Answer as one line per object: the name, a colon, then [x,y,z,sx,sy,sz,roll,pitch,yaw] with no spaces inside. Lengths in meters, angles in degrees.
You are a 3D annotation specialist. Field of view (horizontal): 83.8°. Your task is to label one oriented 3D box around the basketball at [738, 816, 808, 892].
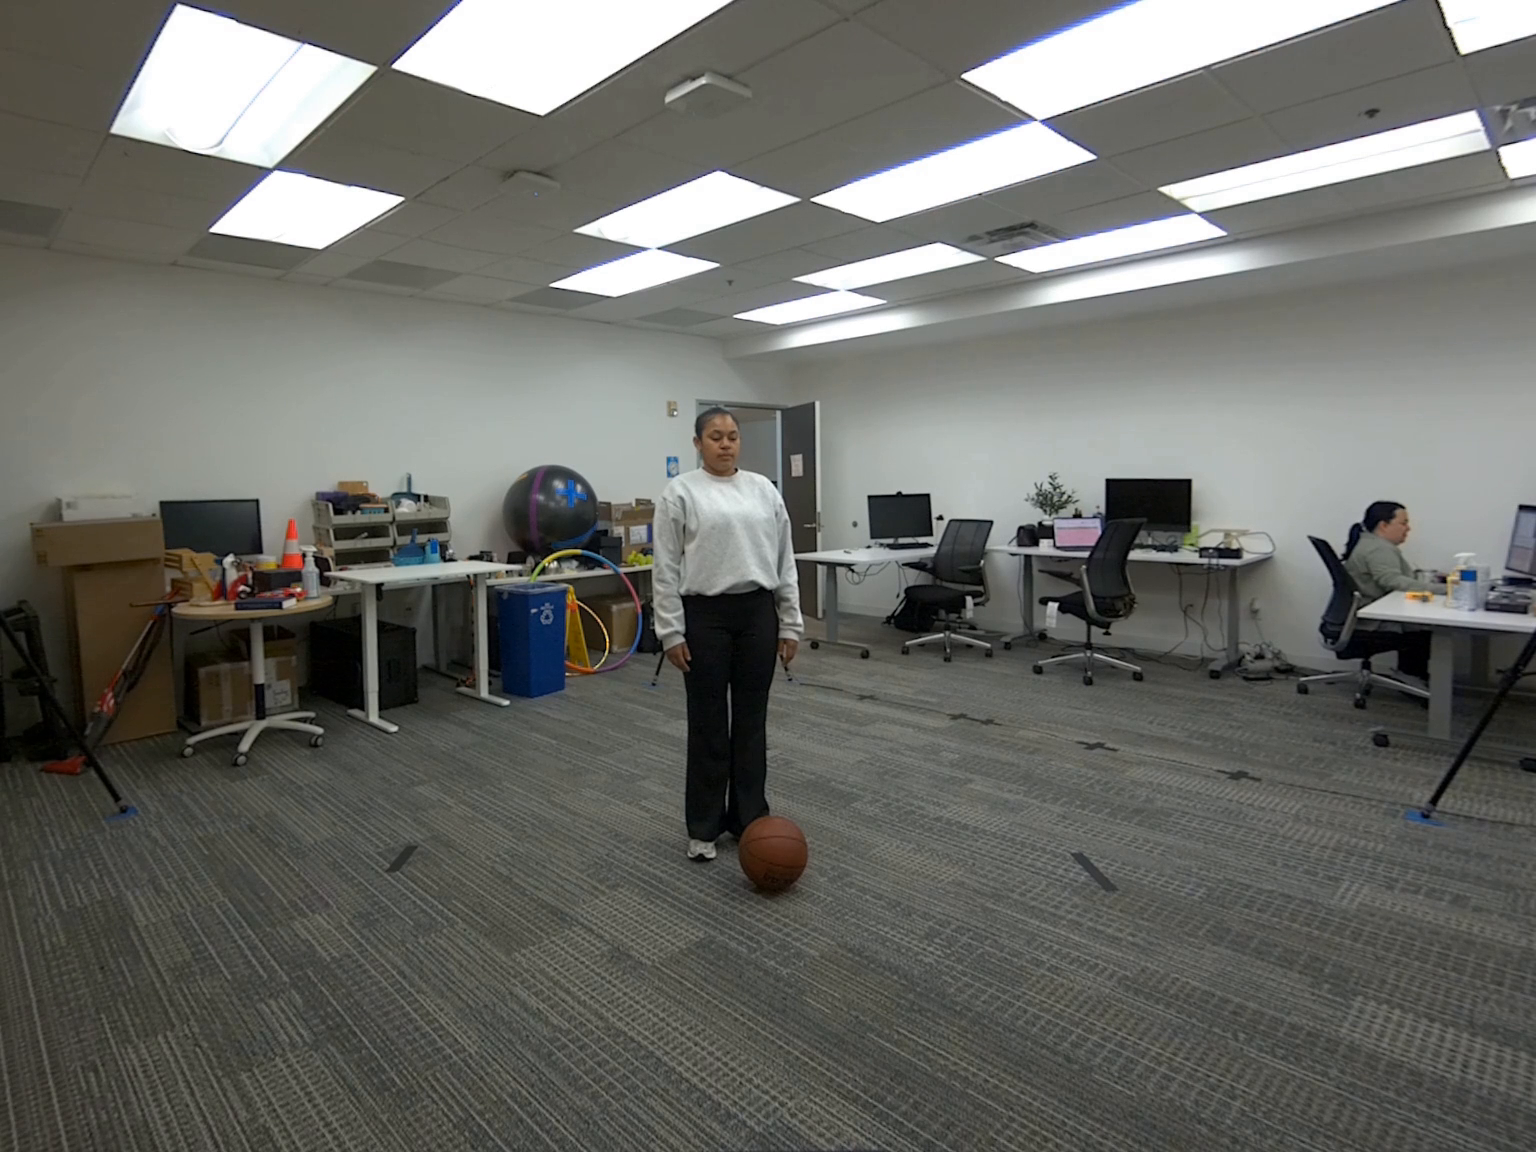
basketball: [0.020,0.946,2.922,0.236,0.235,0.237,-1,5,-2]
